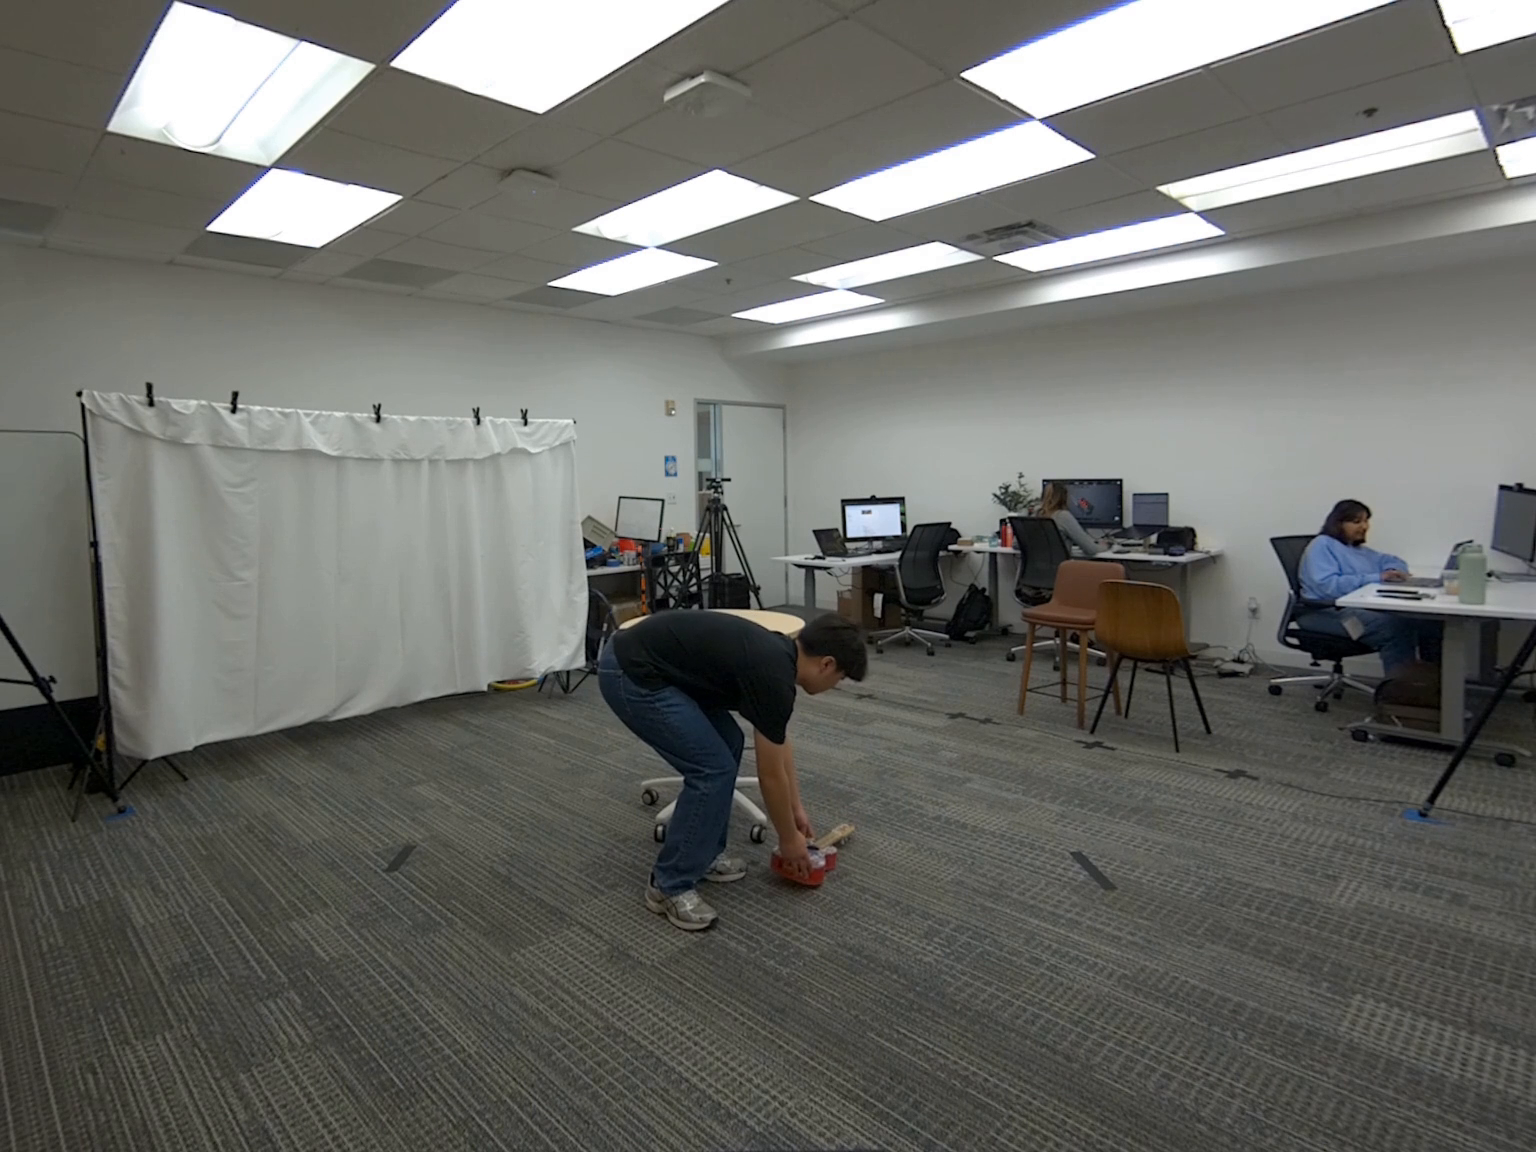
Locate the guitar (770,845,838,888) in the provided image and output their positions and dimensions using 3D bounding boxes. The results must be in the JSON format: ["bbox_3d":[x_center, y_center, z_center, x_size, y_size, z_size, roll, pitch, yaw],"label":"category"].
[{"bbox_3d":[0.224,1.007,3.097,0.199,0.070,0.483,11,6,38],"label":"guitar"}]
